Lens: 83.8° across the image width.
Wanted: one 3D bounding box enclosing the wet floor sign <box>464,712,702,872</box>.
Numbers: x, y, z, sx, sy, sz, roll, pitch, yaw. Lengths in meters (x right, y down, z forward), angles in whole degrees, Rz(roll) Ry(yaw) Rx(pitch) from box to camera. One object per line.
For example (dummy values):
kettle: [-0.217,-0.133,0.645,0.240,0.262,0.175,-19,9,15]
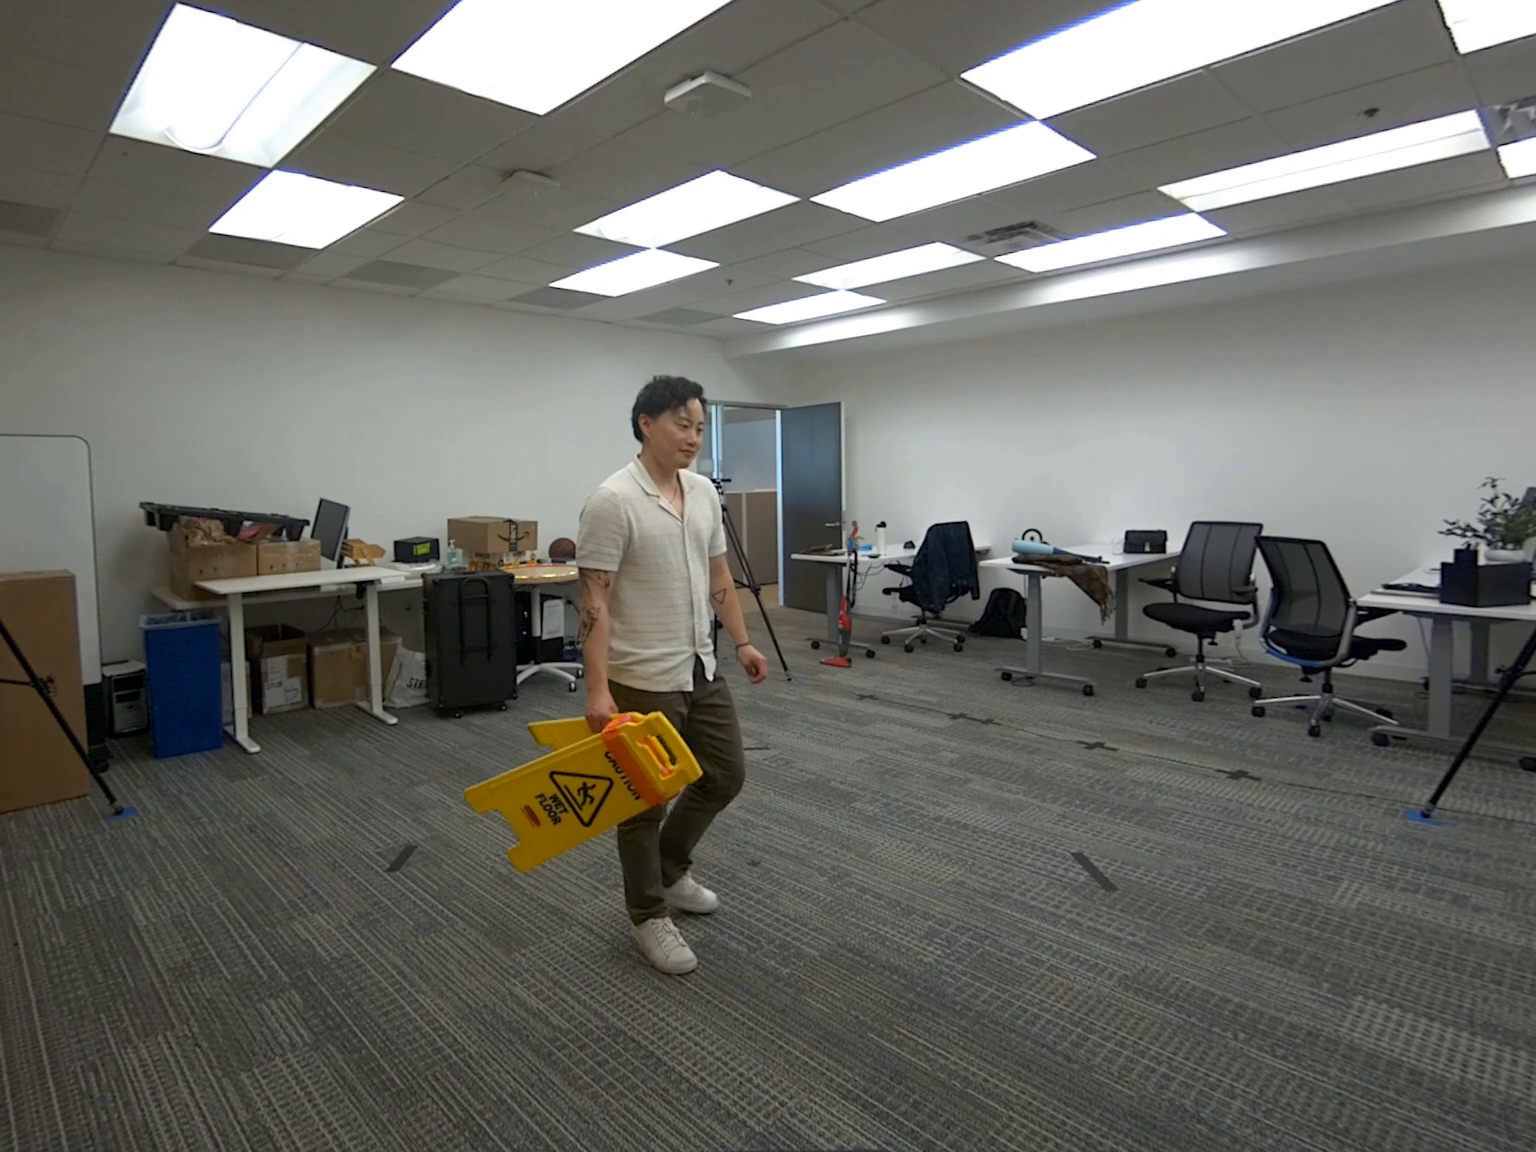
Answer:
wet floor sign: [-0.454,0.521,2.269,0.655,0.279,0.289,-24,13,34]
